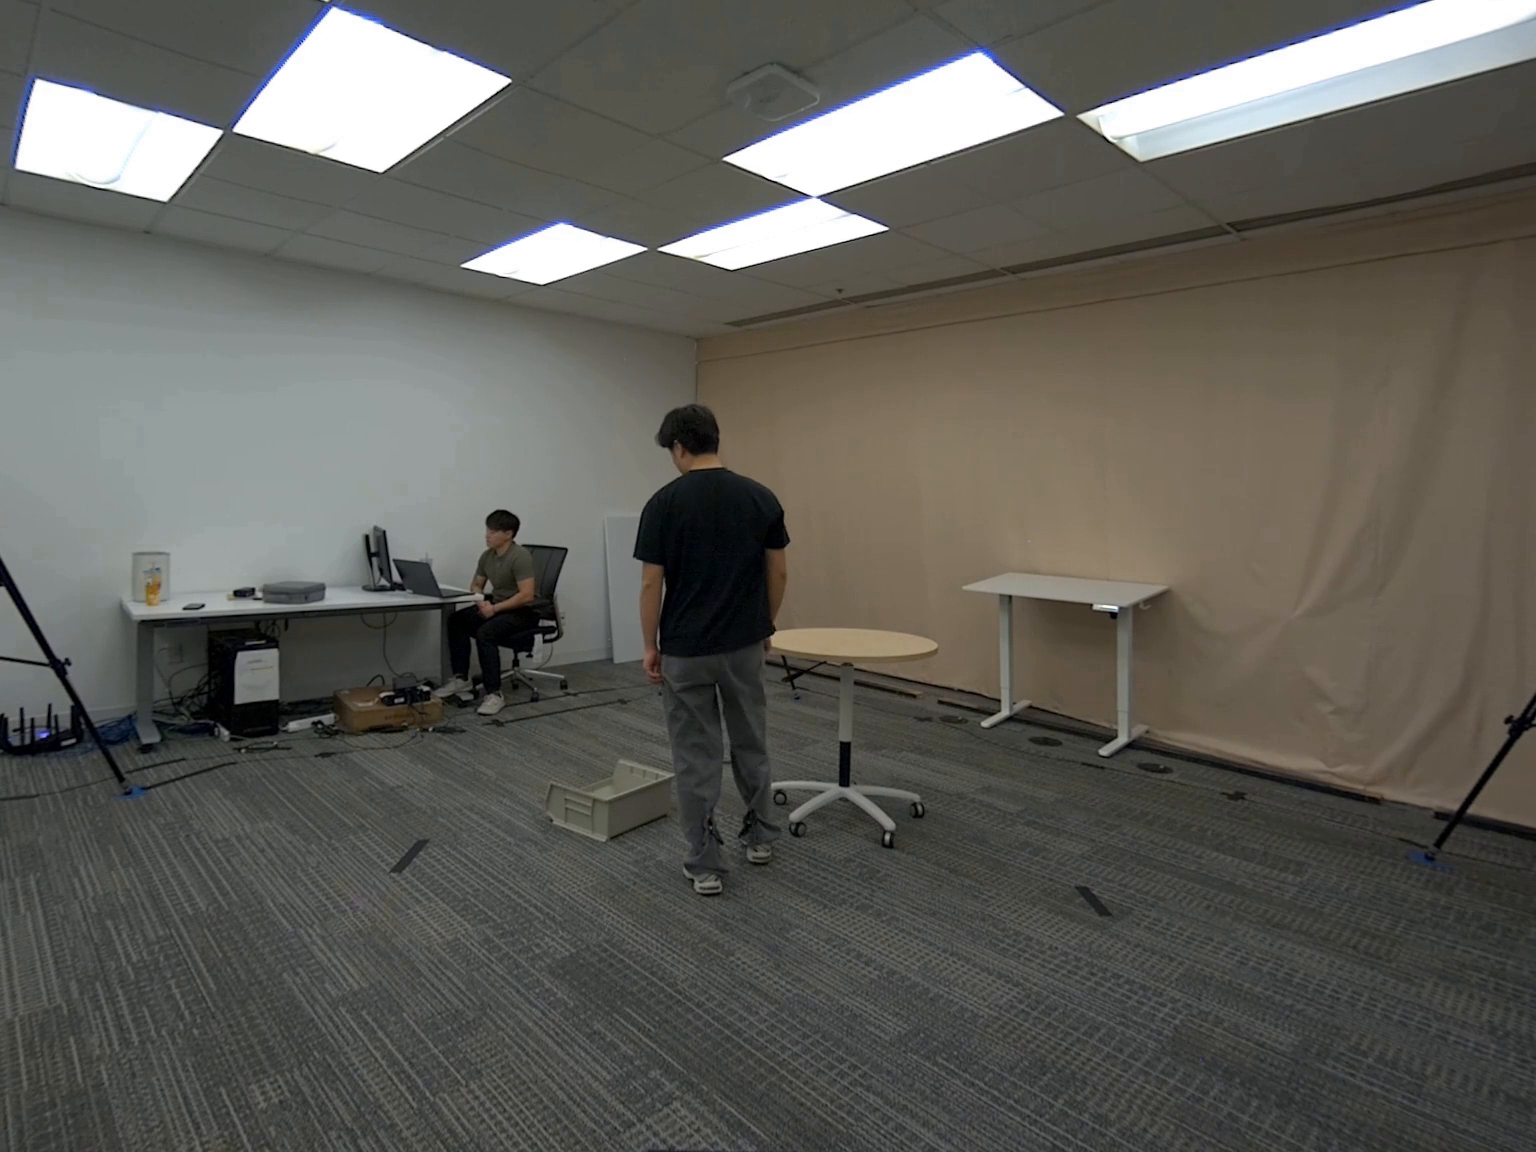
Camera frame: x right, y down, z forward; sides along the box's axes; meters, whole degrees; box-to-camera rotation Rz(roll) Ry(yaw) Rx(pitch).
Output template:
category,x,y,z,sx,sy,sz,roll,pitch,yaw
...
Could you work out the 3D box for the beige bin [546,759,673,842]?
category,x,y,z,sx,sy,sz,roll,pitch,yaw
beige bin,-0.683,0.953,3.633,0.387,0.188,0.413,6,6,35
